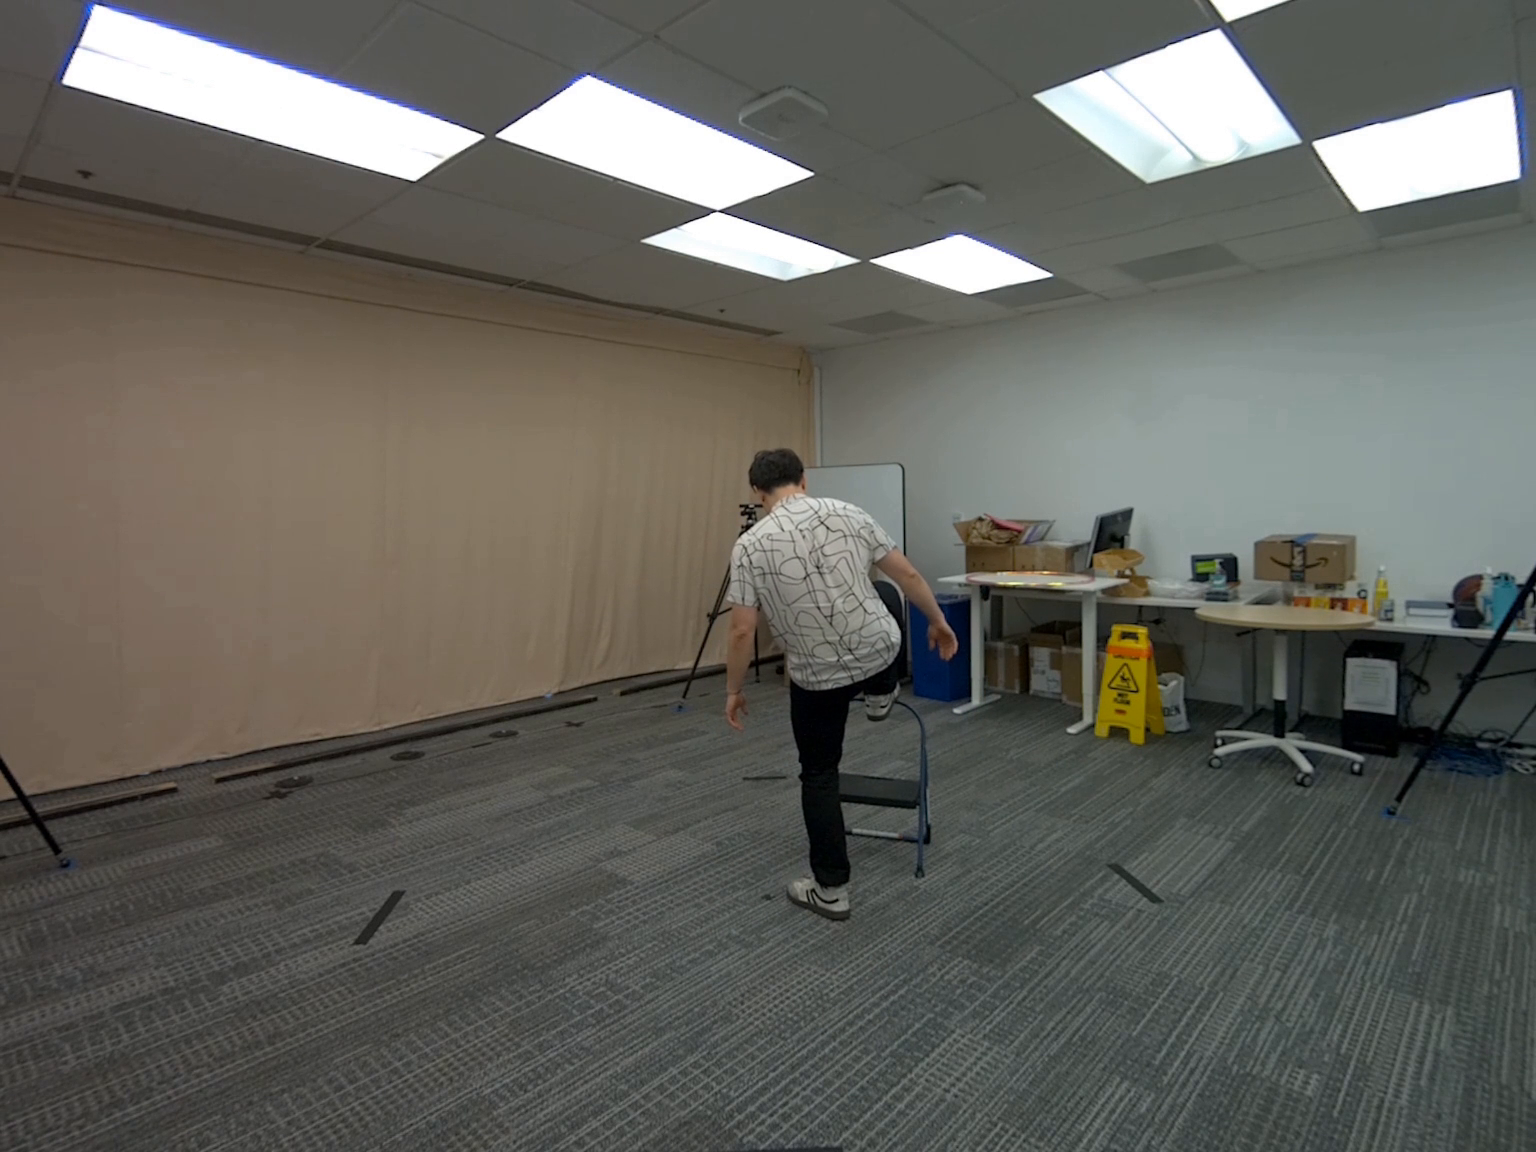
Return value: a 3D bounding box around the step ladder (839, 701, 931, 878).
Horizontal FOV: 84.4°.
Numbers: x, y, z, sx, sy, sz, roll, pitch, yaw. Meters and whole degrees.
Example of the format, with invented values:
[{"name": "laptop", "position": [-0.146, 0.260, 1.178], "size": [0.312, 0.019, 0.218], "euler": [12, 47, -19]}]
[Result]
[{"name": "step ladder", "position": [0.425, 0.797, 3.342], "size": [0.439, 0.605, 0.343], "euler": [1, 3, 18]}]
